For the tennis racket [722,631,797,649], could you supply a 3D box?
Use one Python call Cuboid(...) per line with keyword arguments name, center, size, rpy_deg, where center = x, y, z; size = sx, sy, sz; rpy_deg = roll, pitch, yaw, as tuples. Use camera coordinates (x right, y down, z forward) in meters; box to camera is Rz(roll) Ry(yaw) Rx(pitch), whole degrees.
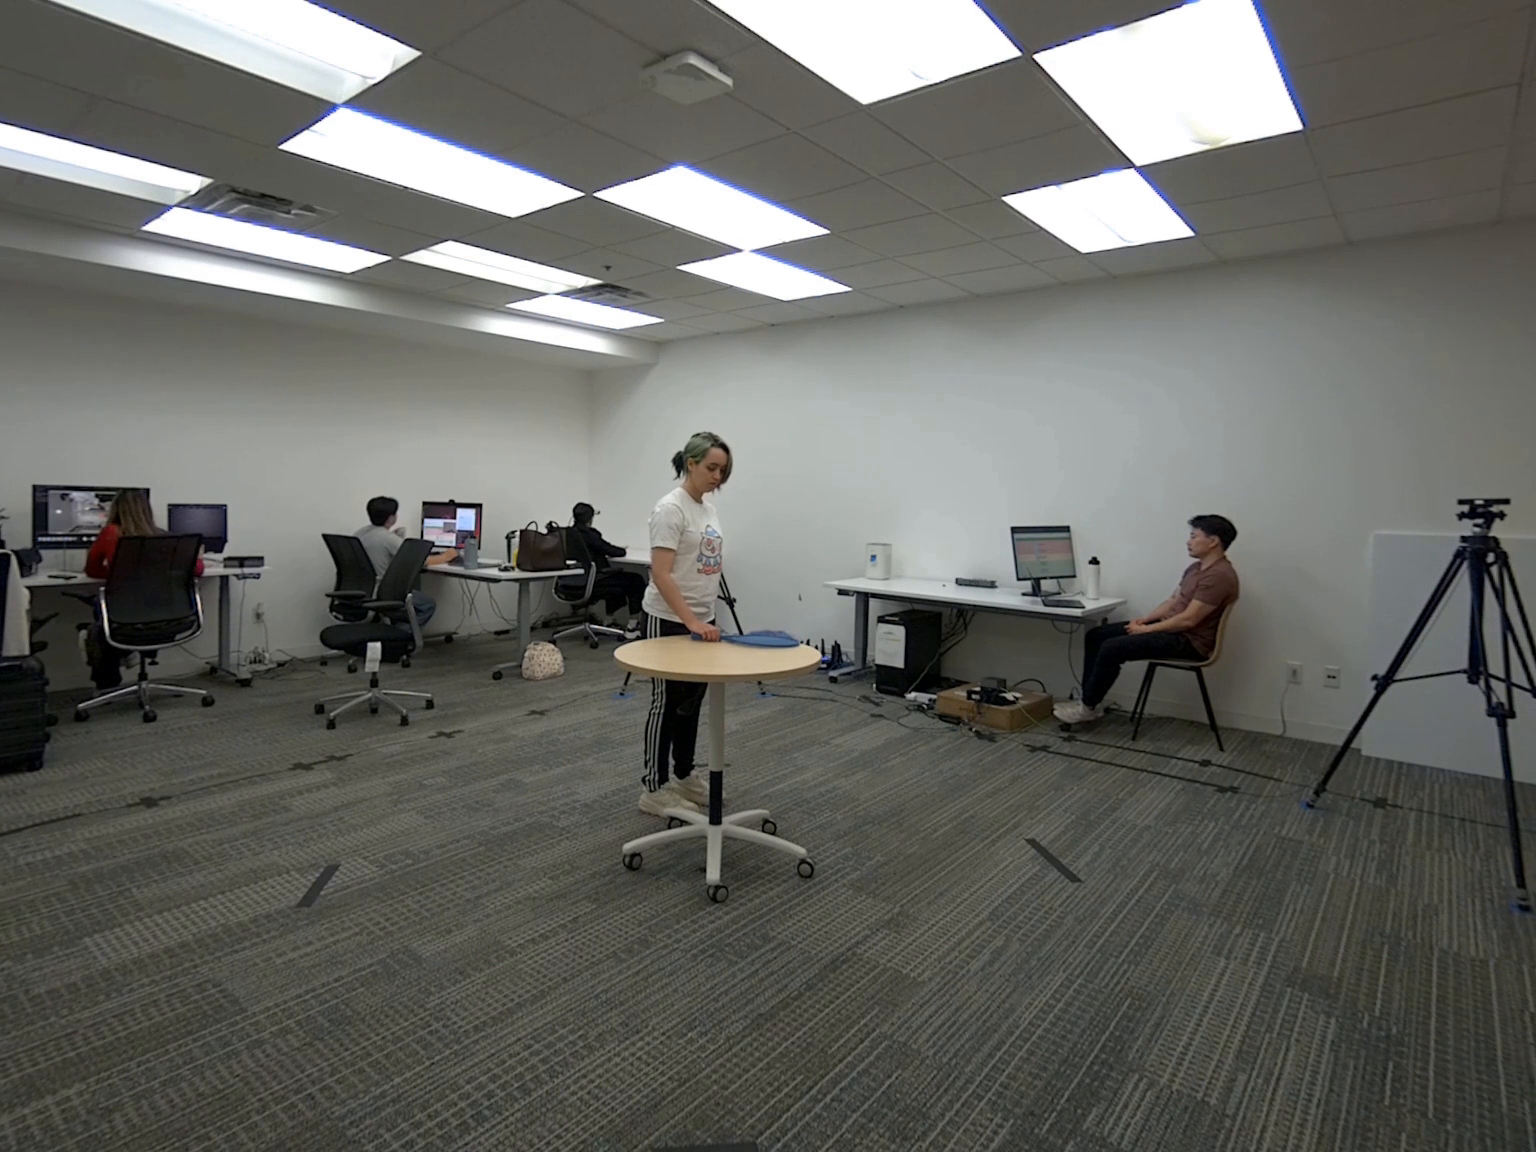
Cuboid(name="tennis racket", center=(-0.103, 0.249, 3.373), size=(0.438, 0.031, 0.212), rpy_deg=(3, 7, 10))
